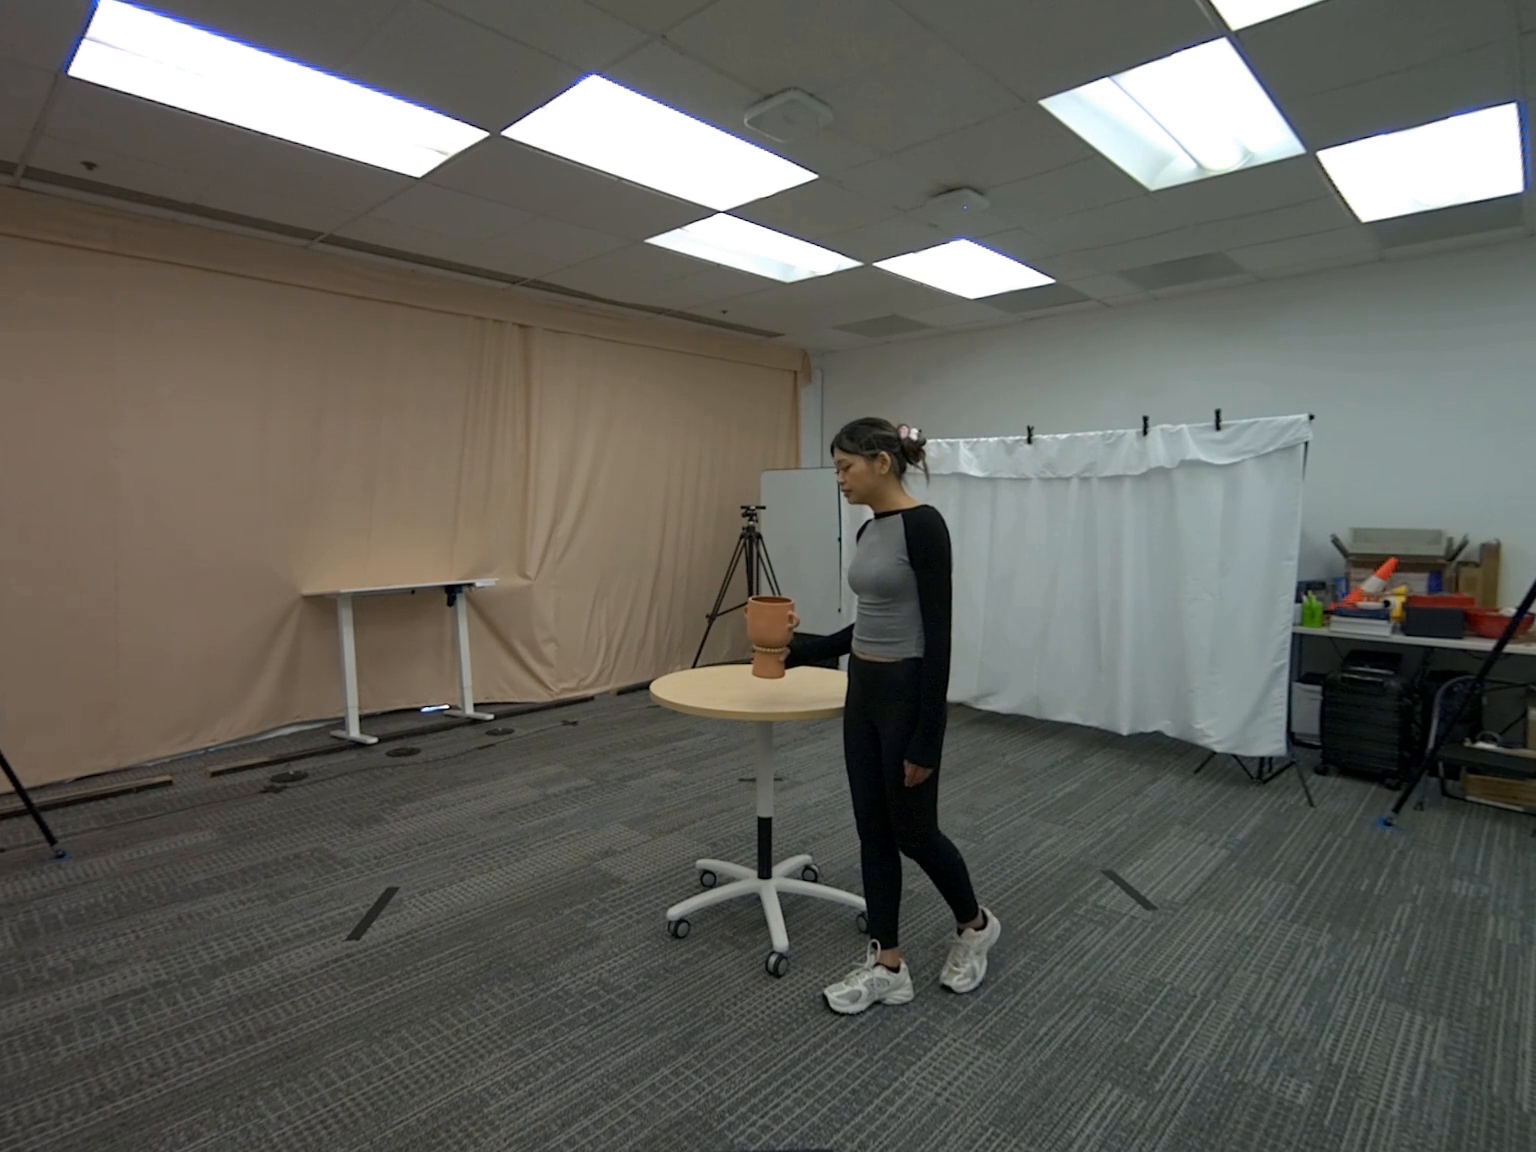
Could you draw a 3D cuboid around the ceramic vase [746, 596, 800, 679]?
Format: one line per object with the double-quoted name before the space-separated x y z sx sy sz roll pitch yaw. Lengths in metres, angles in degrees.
"ceramic vase" 0.019 0.175 2.424 0.133 0.219 0.162 1 7 -14
